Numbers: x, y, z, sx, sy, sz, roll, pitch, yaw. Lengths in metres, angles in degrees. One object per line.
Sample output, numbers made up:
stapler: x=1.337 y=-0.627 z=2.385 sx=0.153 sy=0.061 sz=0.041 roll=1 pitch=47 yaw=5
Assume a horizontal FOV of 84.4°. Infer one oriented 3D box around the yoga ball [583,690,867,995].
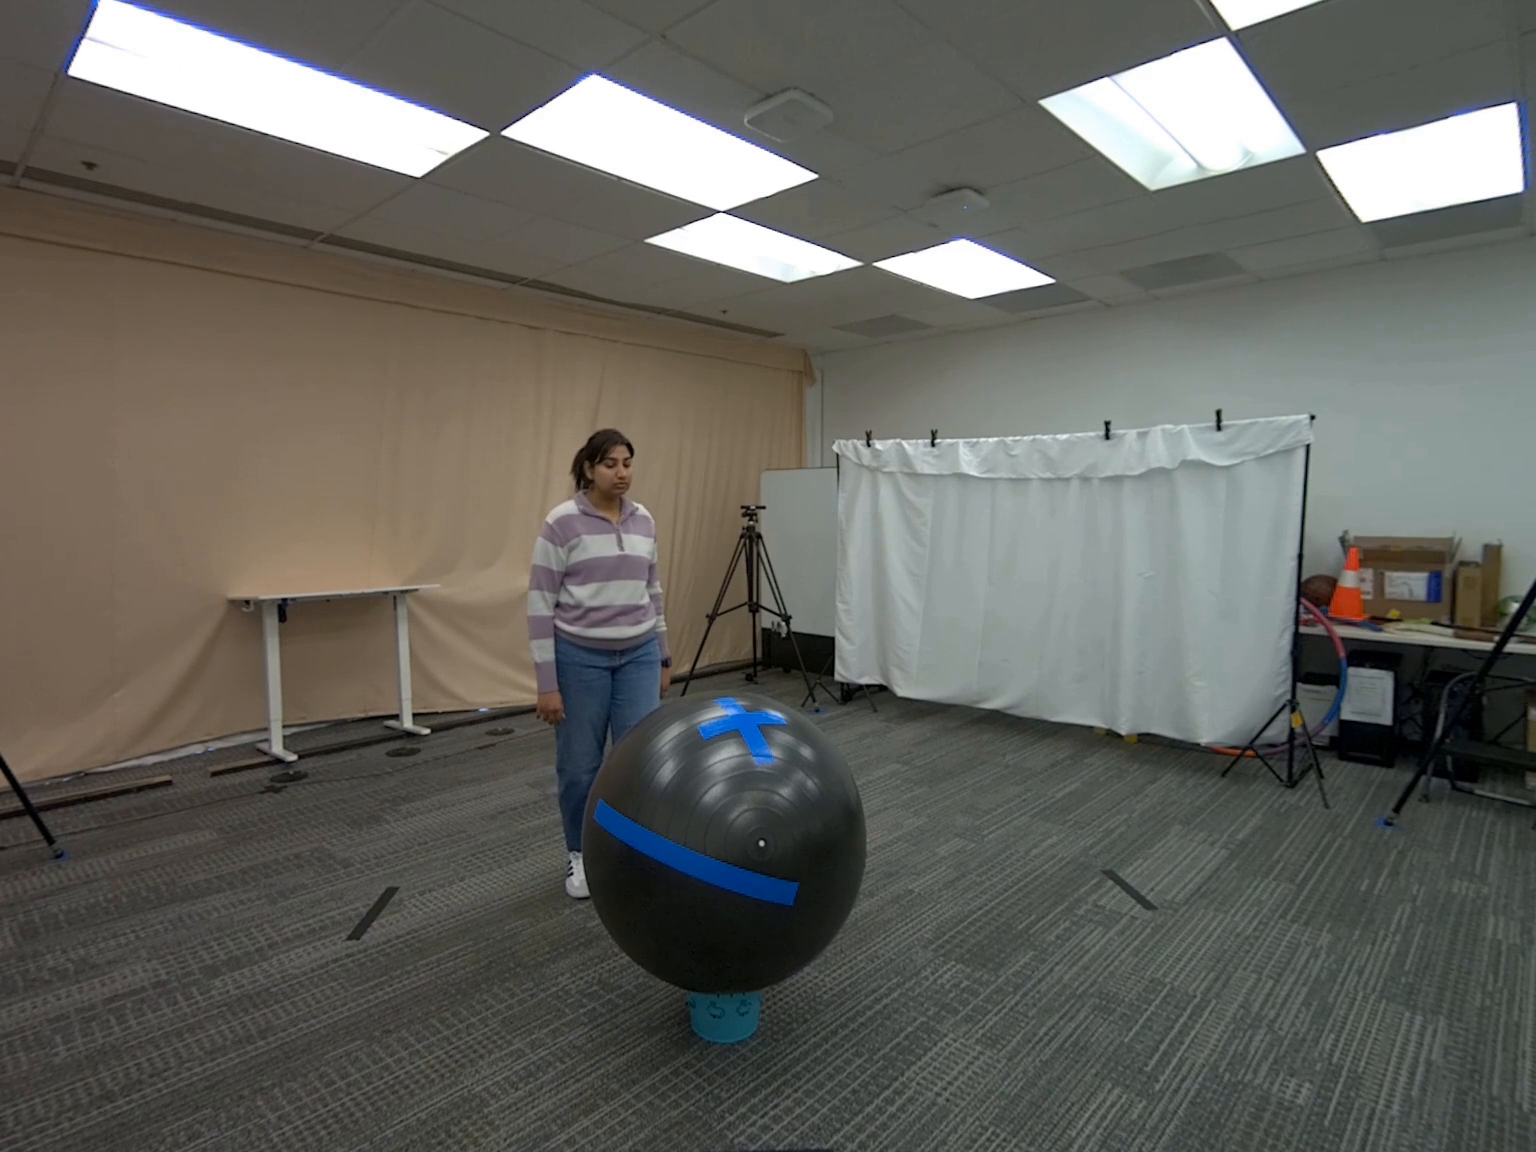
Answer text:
yoga ball: x=-0.109 y=0.695 z=2.251 sx=0.757 sy=0.756 sz=0.761 roll=0 pitch=4 yaw=-2
